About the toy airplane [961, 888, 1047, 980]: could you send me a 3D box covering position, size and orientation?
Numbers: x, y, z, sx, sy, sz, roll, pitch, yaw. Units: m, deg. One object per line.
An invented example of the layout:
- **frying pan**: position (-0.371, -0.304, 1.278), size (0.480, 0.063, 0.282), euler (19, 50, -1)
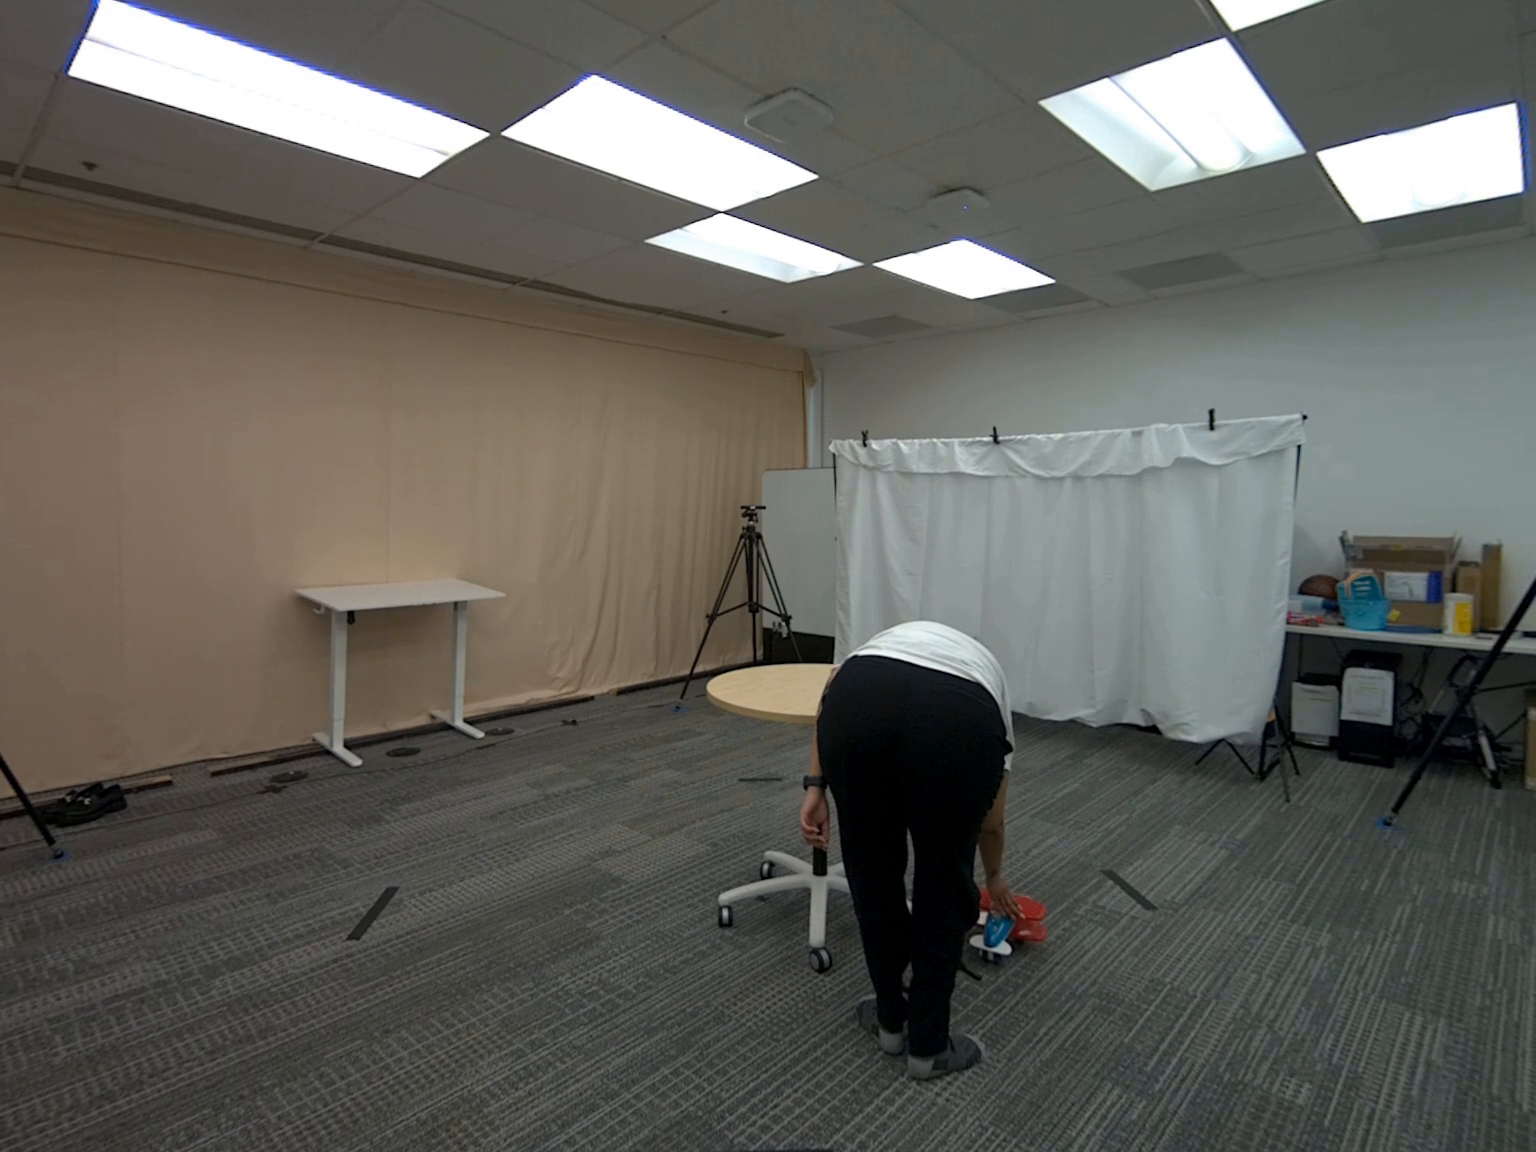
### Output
- **toy airplane**: position (0.757, 1.098, 2.628), size (0.252, 0.156, 0.258), euler (1, 3, 4)
